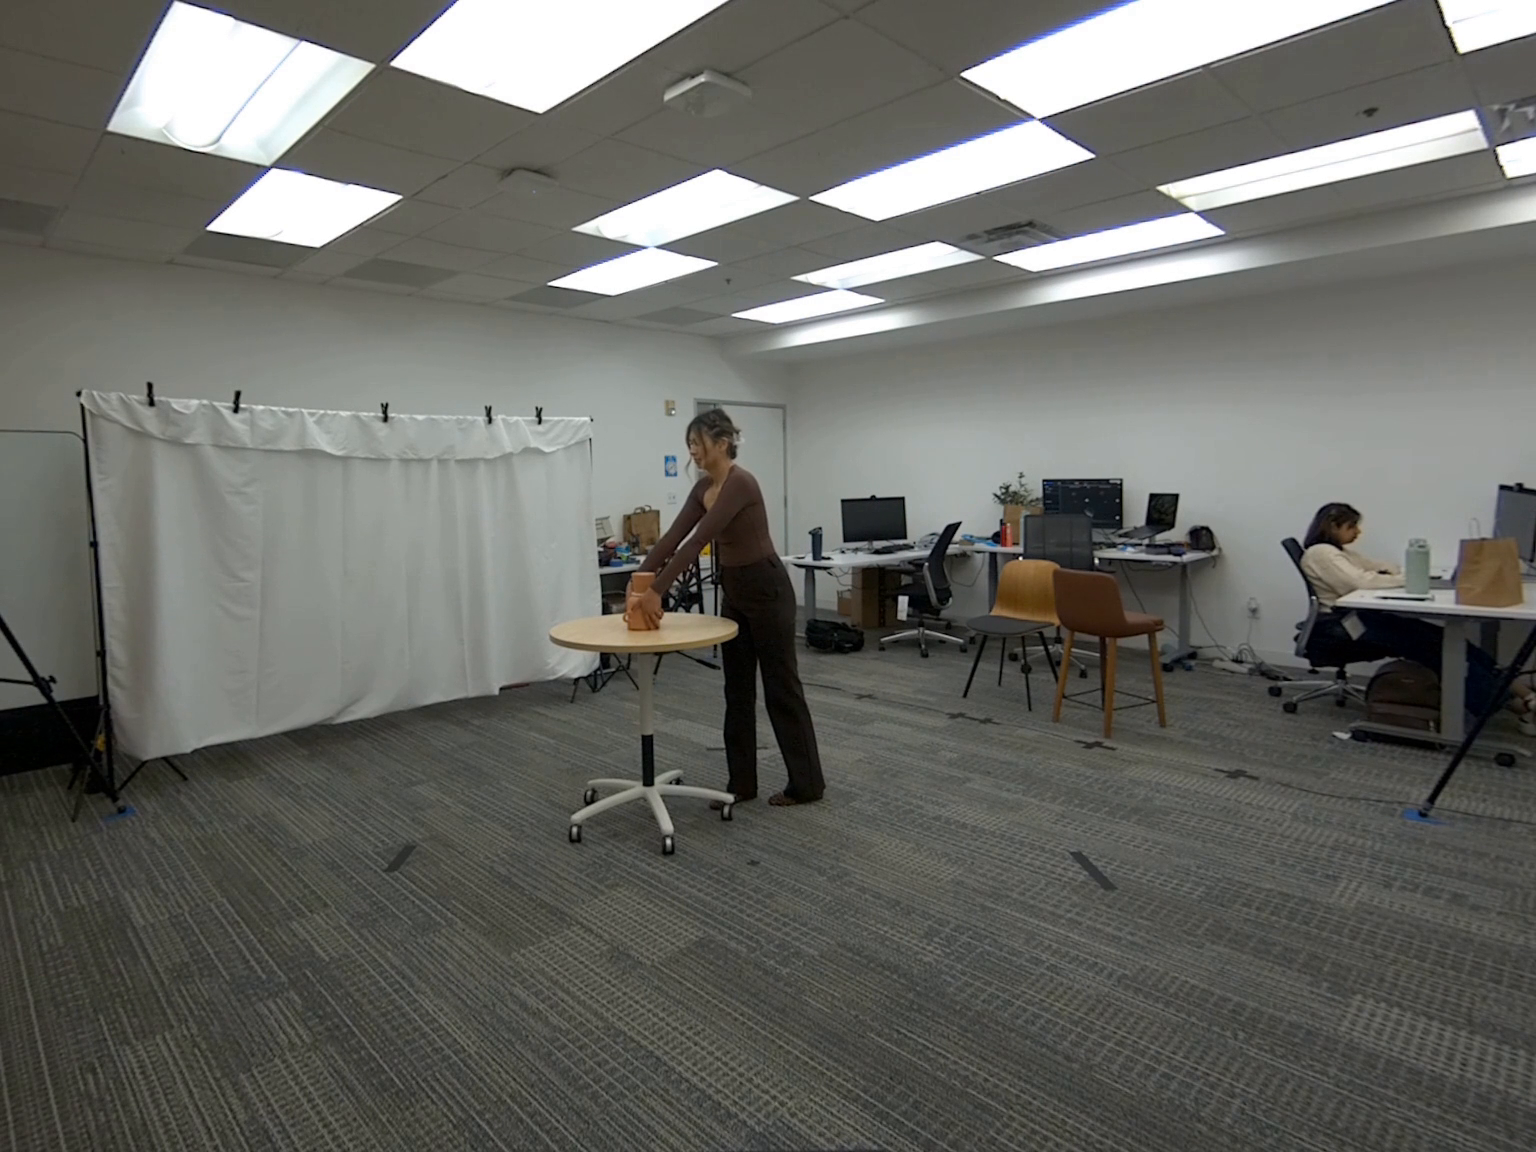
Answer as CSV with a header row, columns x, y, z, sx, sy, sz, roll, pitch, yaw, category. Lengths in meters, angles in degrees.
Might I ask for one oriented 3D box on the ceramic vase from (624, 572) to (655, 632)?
x,y,z,sx,sy,sz,roll,pitch,yaw,category
-0.506,0.100,3.474,0.136,0.219,0.158,0,4,8,ceramic vase
